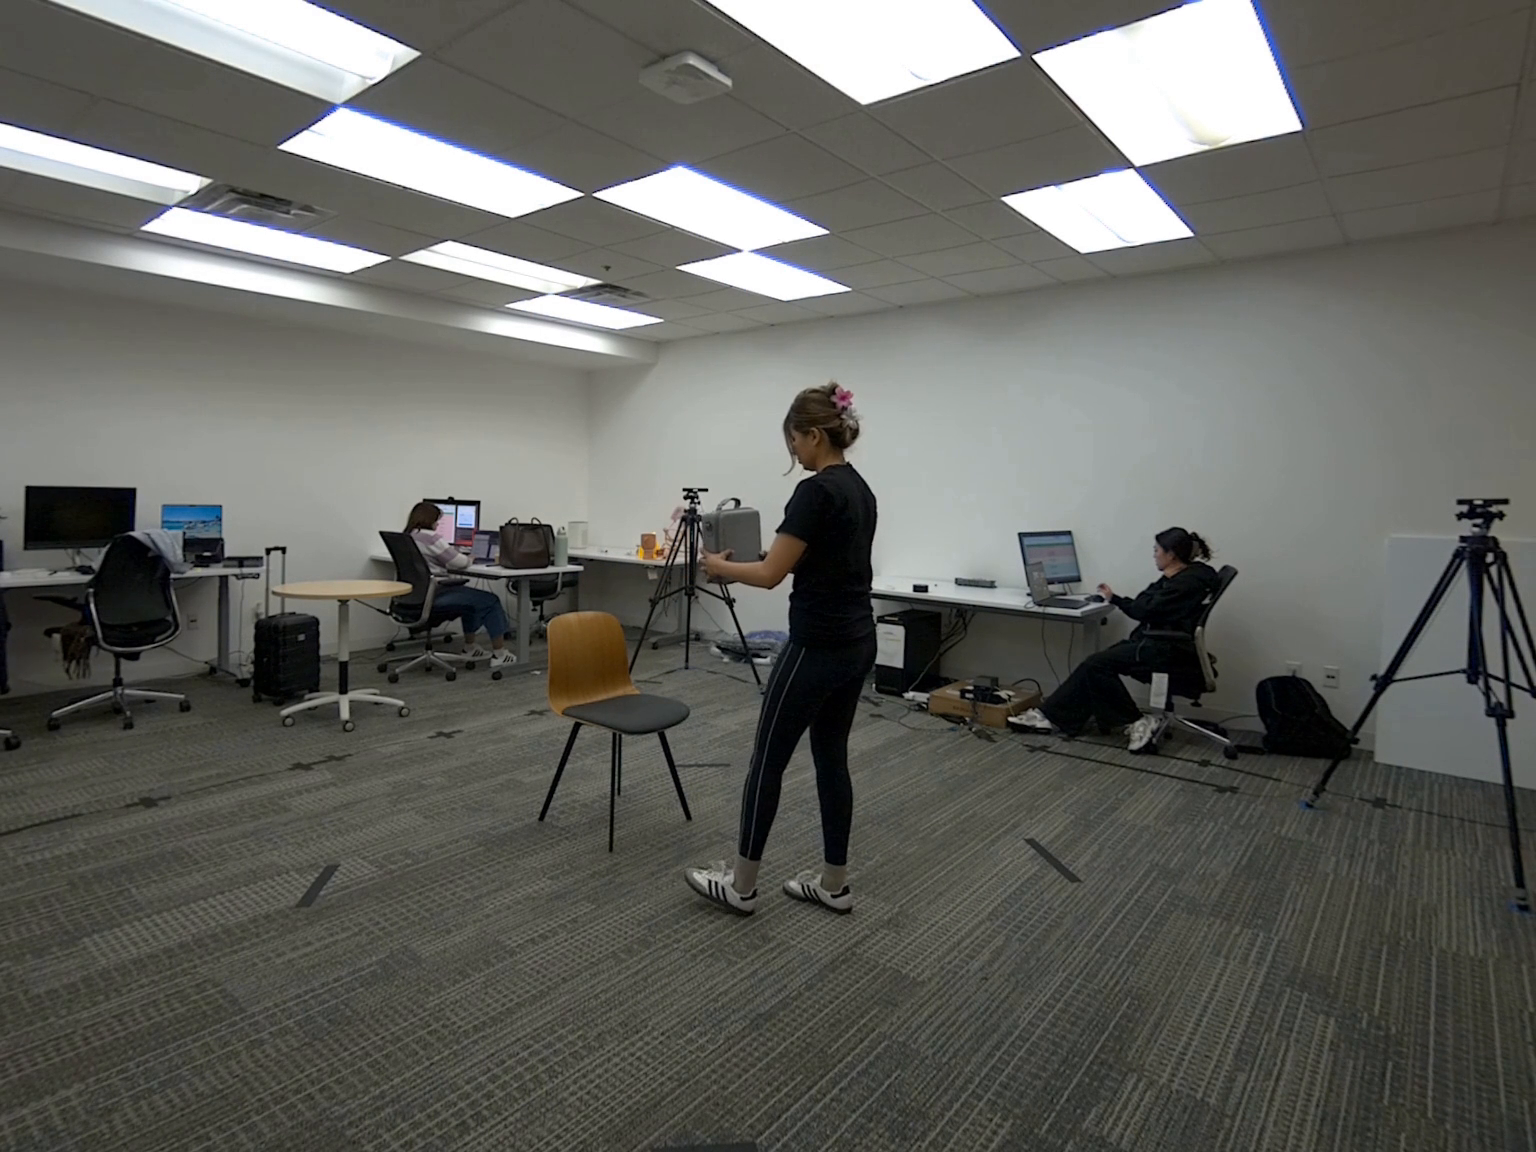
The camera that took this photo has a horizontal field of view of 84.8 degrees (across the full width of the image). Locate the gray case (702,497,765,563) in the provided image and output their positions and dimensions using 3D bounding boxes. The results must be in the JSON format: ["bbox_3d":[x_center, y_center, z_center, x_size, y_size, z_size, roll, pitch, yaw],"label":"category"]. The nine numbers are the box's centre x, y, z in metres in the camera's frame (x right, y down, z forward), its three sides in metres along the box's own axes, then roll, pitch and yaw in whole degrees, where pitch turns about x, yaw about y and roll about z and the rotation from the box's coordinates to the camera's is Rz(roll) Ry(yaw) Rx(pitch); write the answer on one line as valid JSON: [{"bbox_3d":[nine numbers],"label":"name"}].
[{"bbox_3d":[-0.140,-0.118,2.993,0.107,0.260,0.250,0,4,33],"label":"gray case"}]
